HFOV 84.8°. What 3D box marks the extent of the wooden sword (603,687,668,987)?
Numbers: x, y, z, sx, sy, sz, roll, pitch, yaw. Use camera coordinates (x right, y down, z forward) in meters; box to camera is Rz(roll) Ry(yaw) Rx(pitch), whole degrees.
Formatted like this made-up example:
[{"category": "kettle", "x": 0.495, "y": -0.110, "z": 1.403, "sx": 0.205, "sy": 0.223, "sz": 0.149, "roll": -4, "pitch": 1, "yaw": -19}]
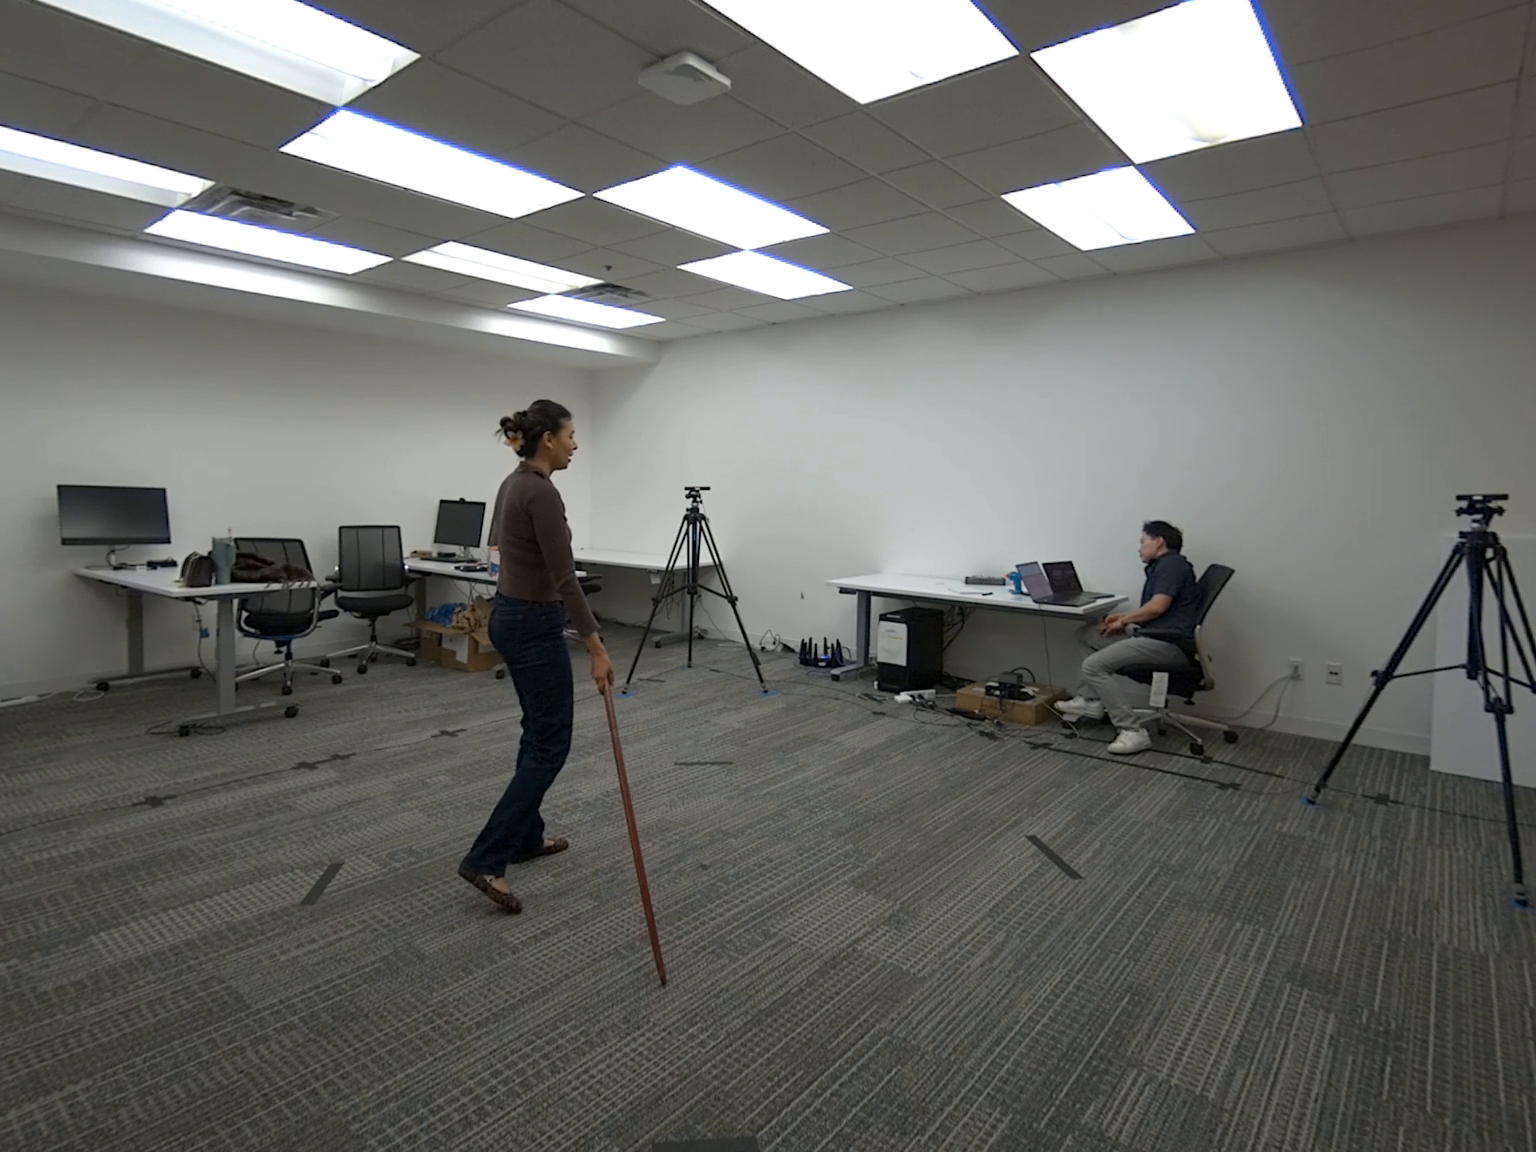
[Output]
[{"category": "wooden sword", "x": -0.429, "y": 0.701, "z": 2.631, "sx": 0.050, "sy": 1.059, "sz": 0.024, "roll": -6, "pitch": -32, "yaw": -18}]
